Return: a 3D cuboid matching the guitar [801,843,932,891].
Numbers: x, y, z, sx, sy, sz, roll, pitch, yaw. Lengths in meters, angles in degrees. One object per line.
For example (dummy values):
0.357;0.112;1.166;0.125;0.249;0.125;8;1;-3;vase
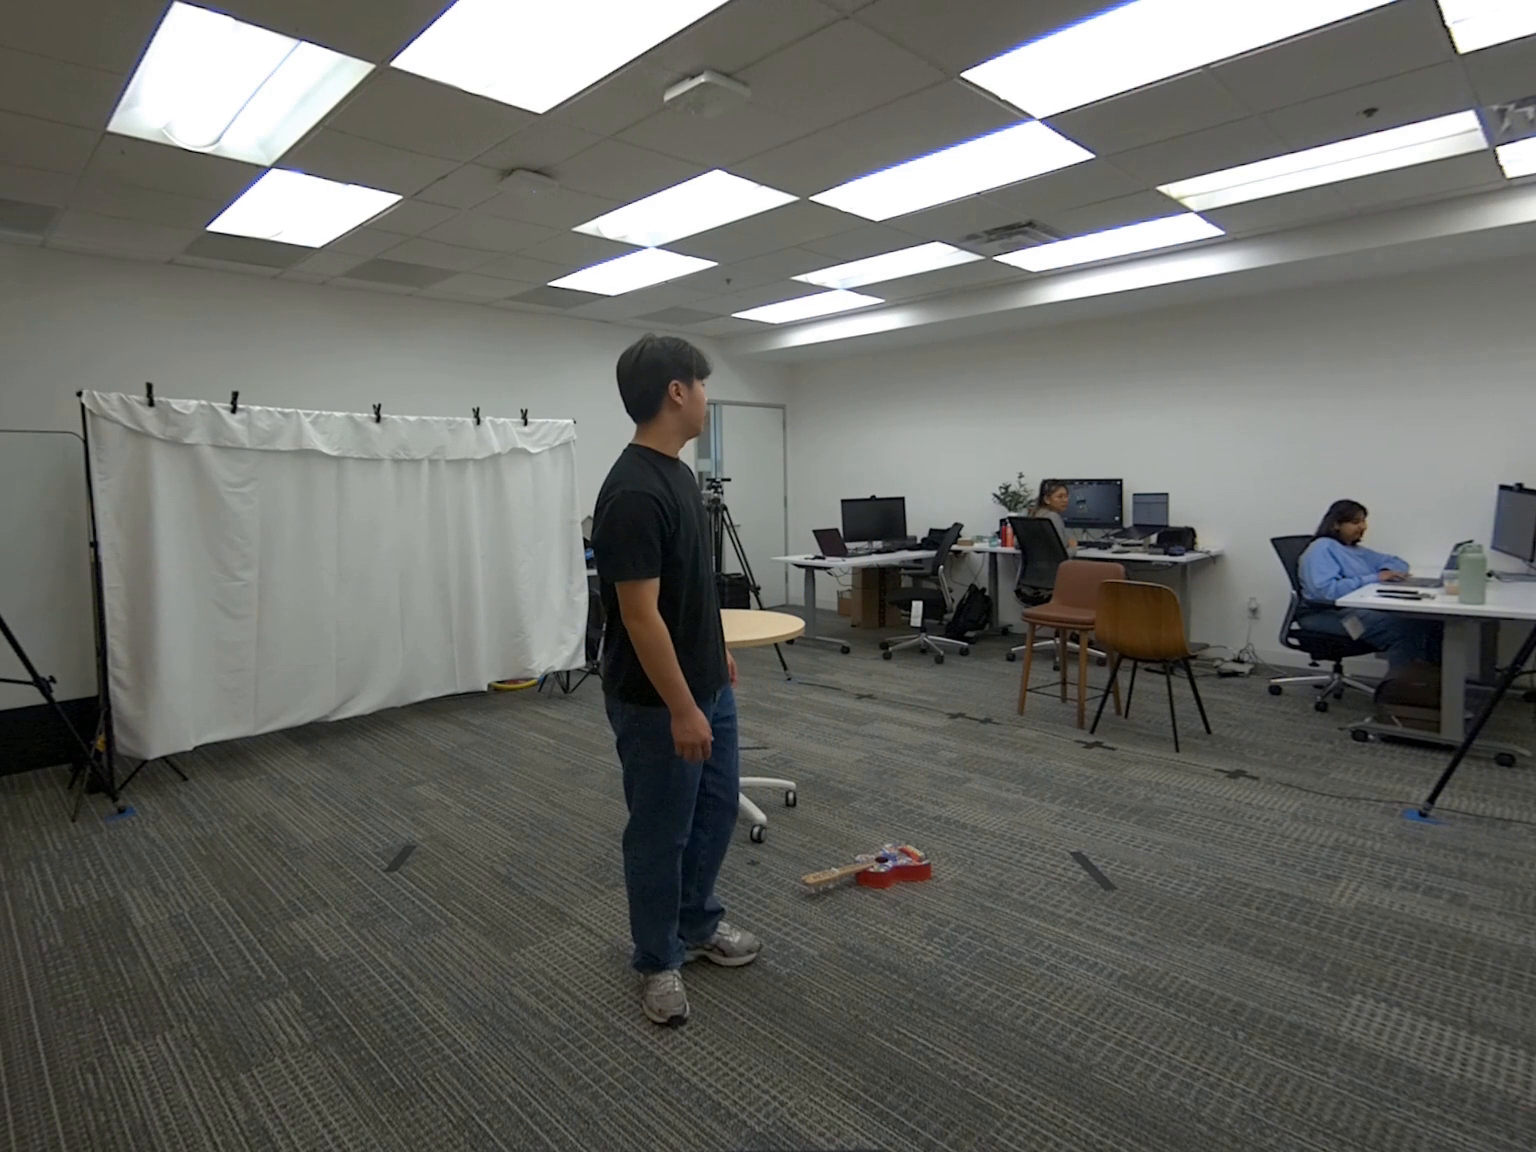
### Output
0.325;1.017;2.971;0.489;0.070;0.197;-3;7;-19;guitar
